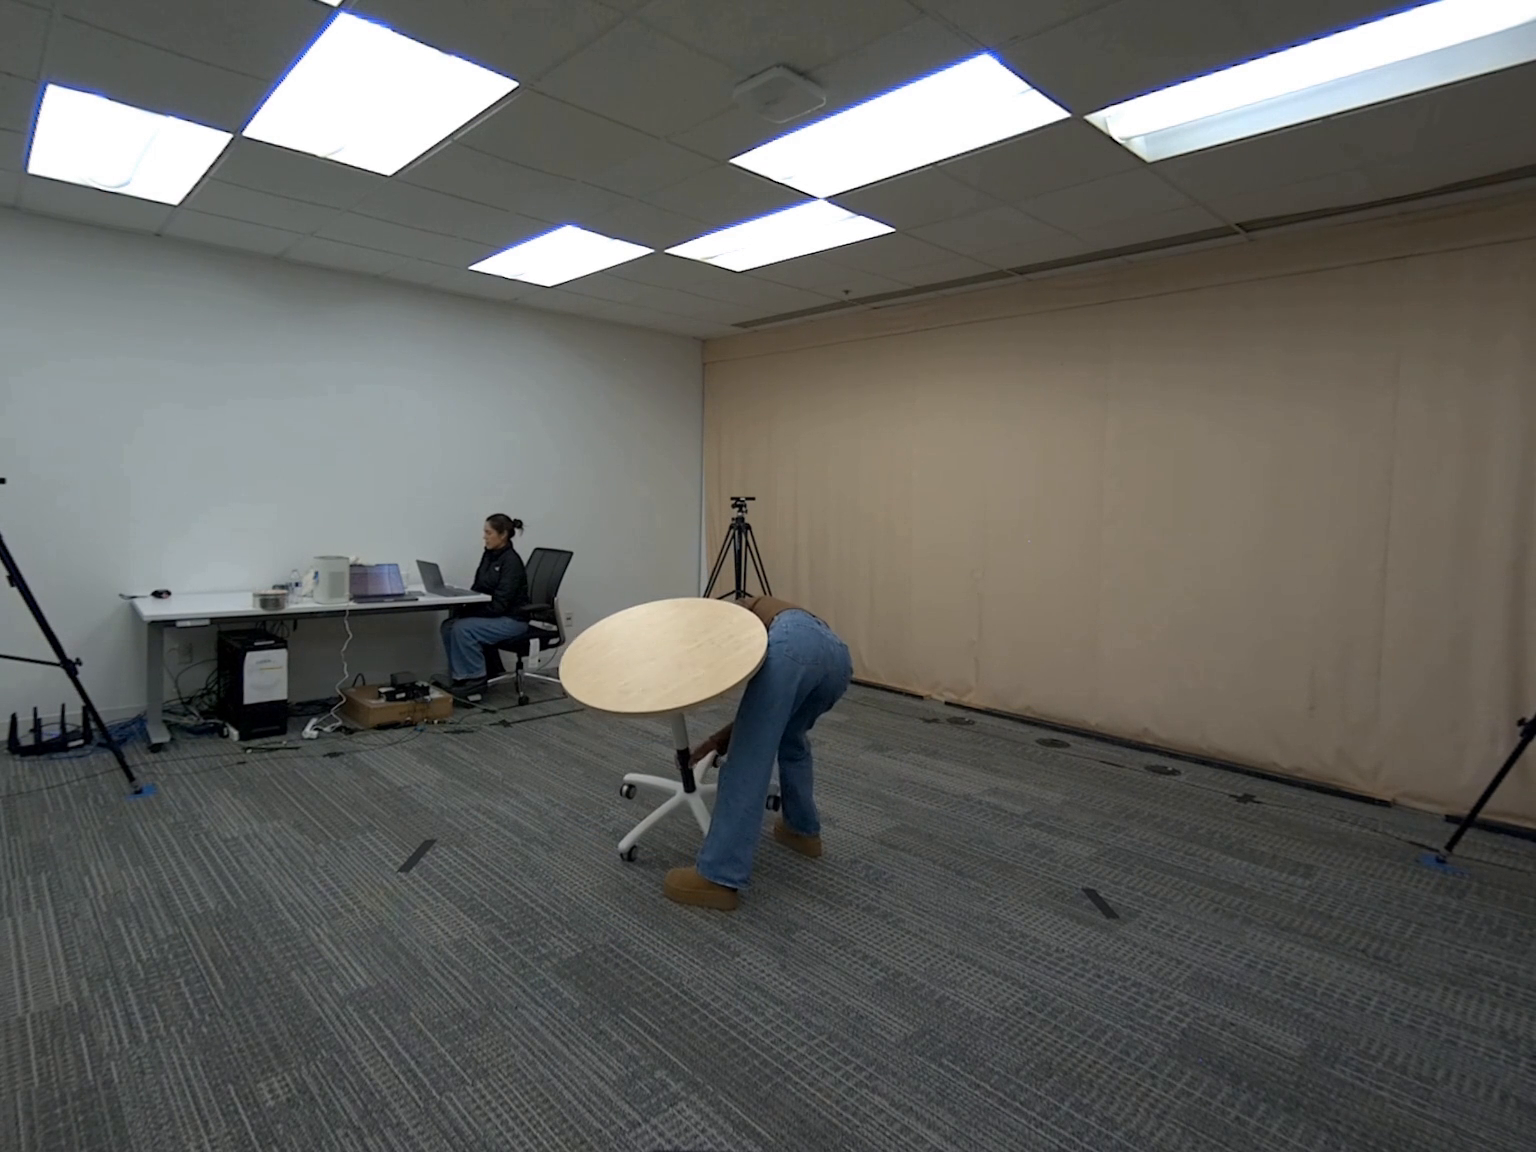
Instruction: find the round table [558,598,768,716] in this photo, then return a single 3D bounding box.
[{"bbox_3d":[-0.349,0.621,3.235,0.765,0.779,0.777,-7,25,2],"label":"round table"}]
